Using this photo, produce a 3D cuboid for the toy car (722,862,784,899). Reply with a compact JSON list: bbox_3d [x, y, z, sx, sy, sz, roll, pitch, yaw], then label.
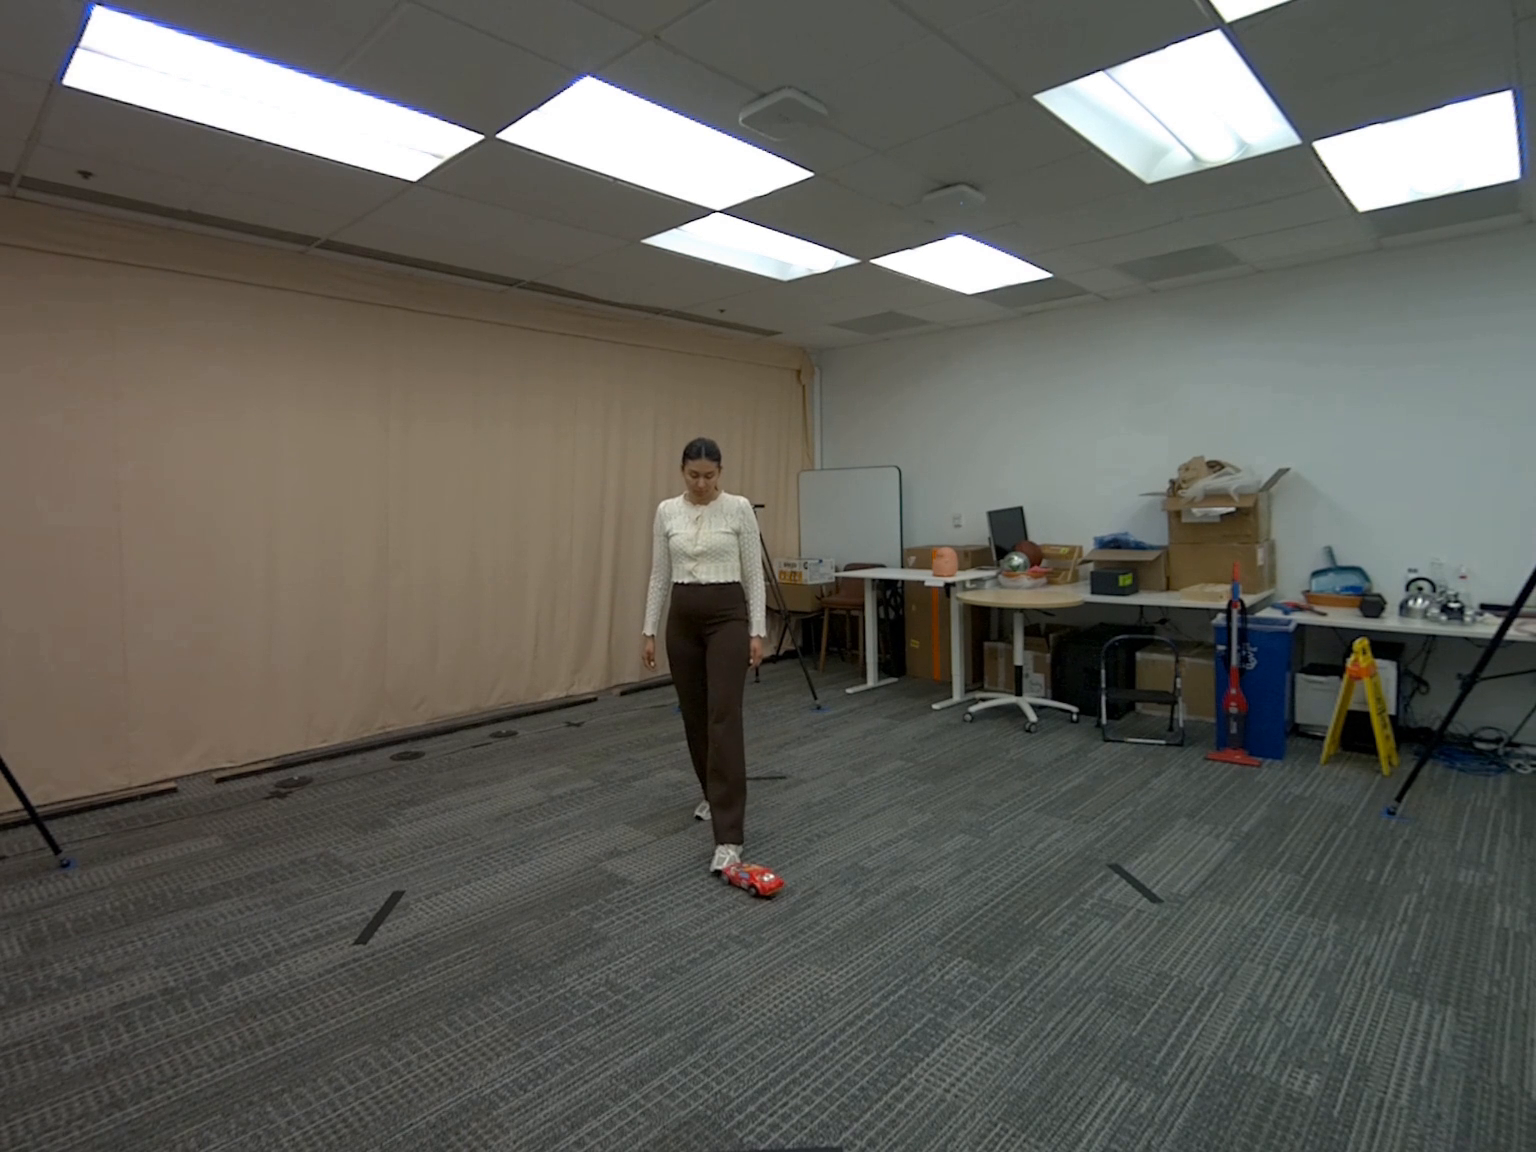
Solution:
[{"bbox_3d":[-0.053,1.102,3.055,0.126,0.083,0.261,-5,-5,-44],"label":"toy car"}]
